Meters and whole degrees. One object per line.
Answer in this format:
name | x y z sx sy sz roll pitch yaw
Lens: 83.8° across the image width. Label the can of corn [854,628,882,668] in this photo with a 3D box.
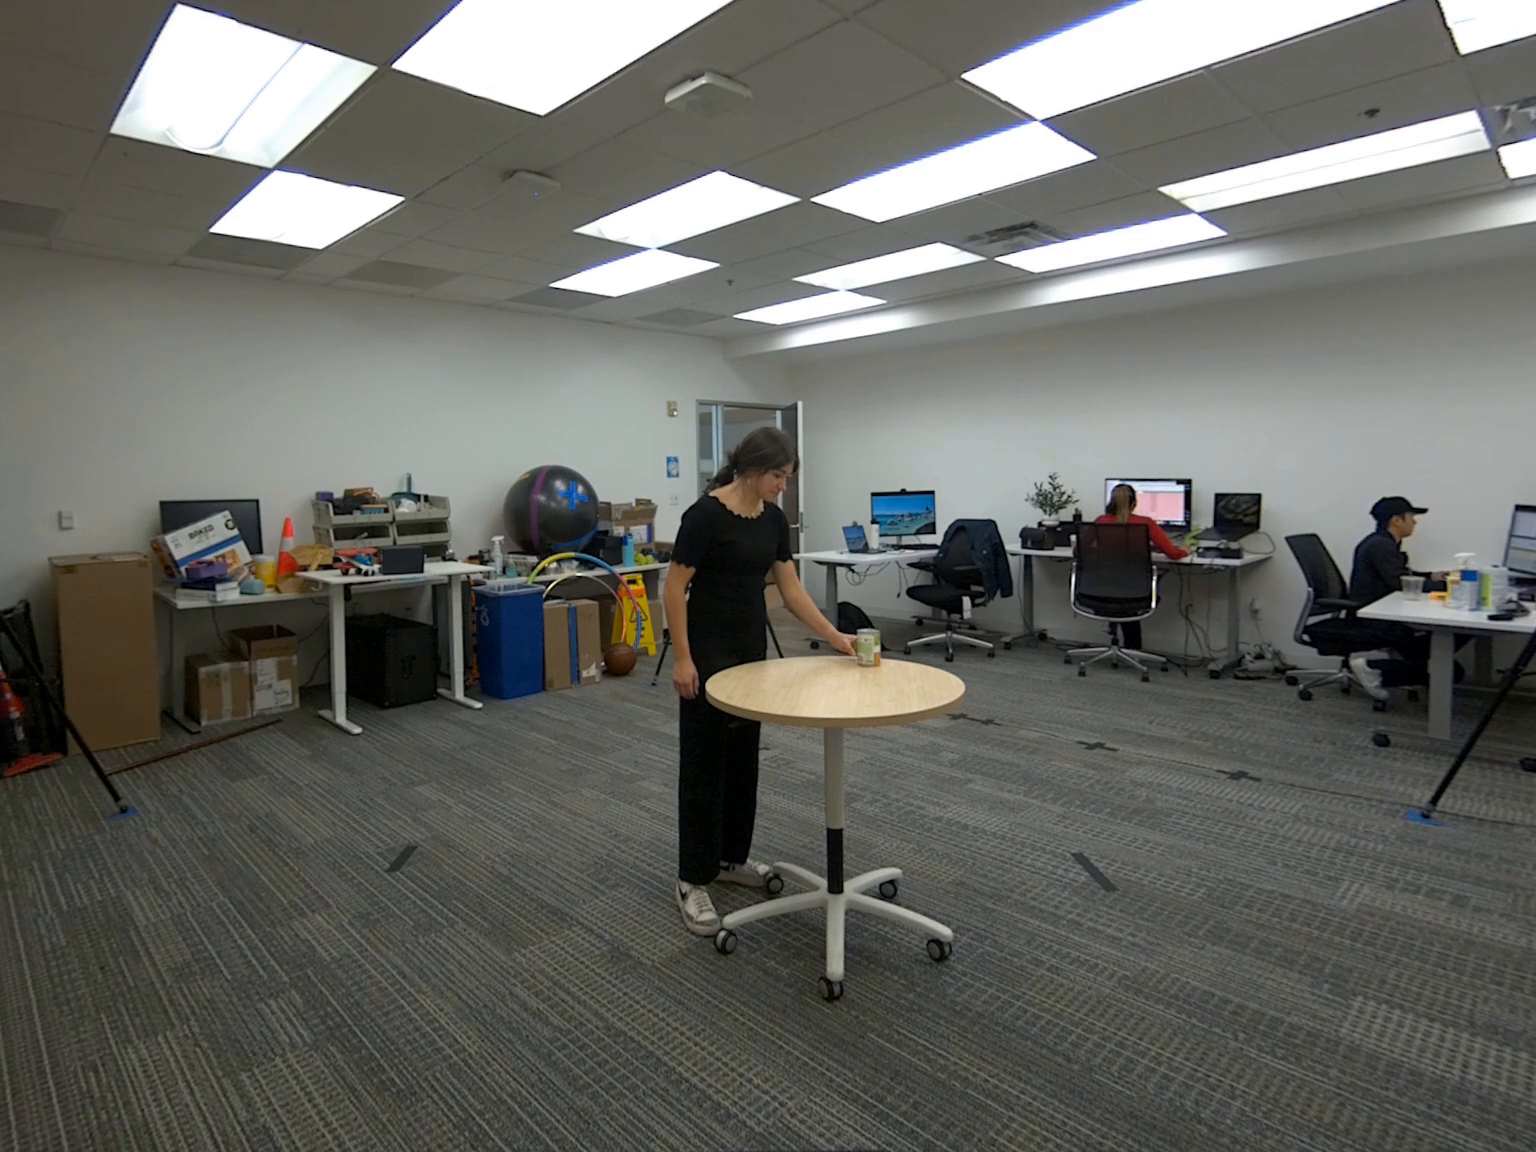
can of corn | 0.327 0.232 2.784 0.074 0.111 0.074 -3 4 -1
